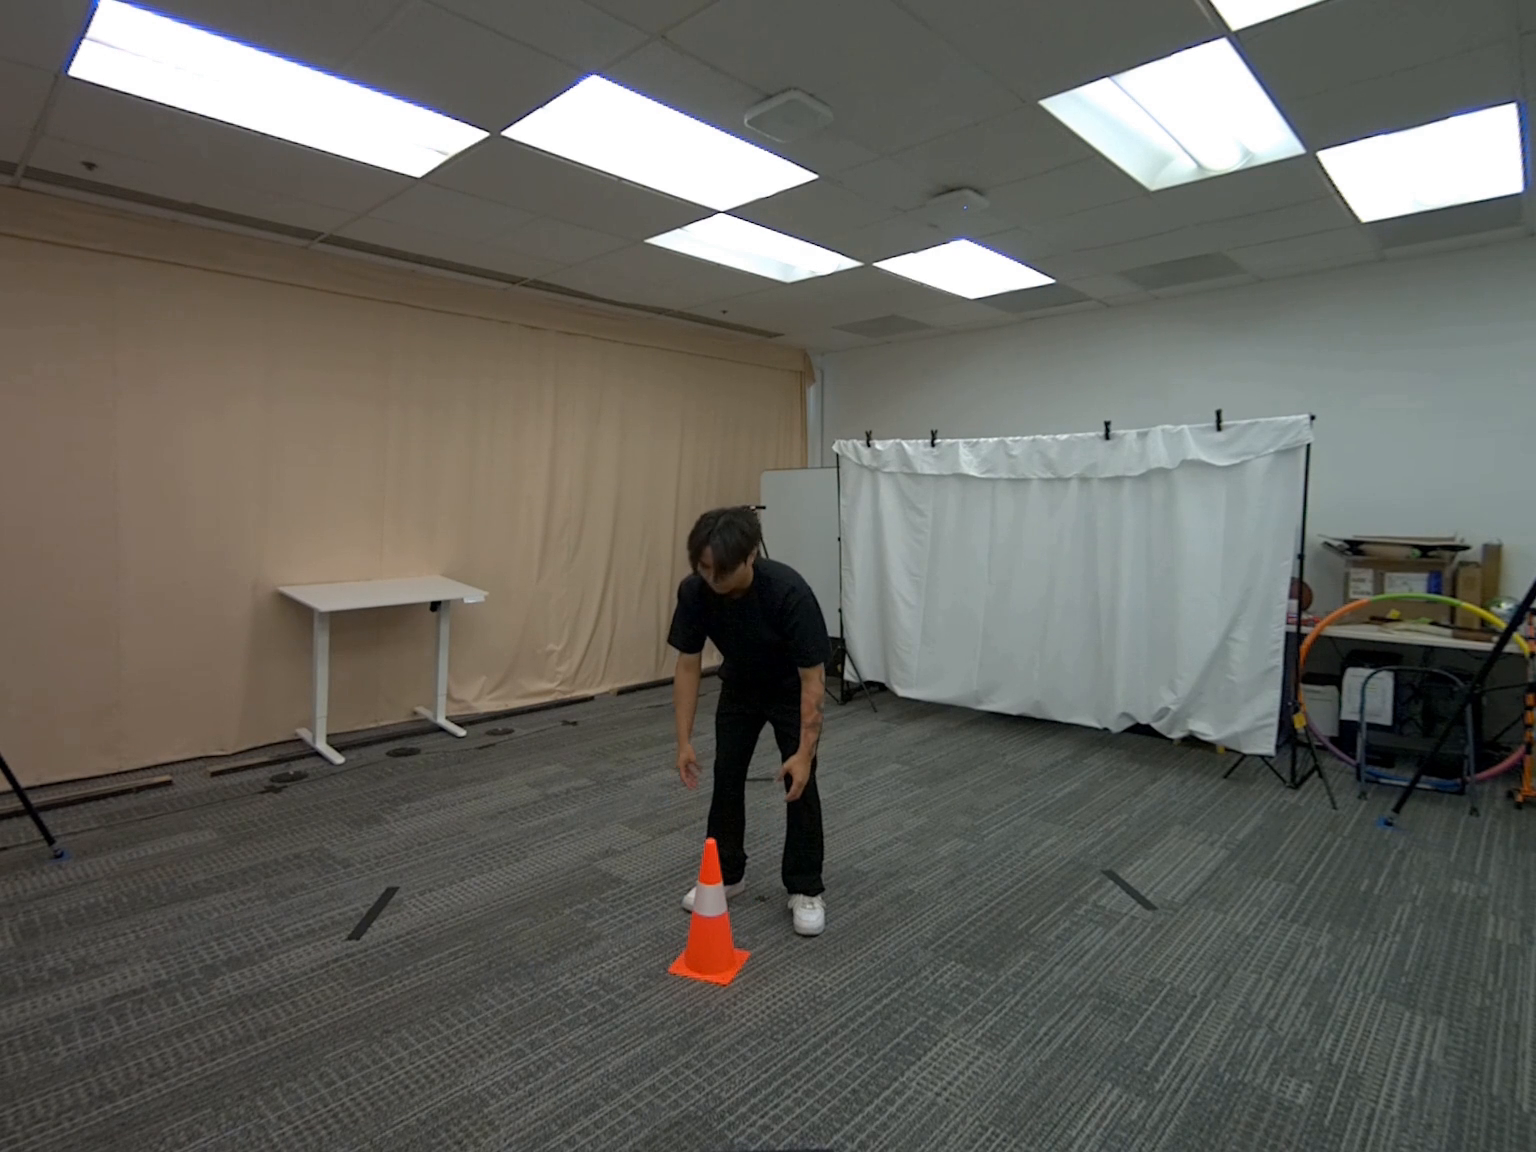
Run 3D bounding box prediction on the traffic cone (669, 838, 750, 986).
[{"bbox_3d":[-0.174,0.988,2.562,0.208,0.383,0.200,2,4,24],"label":"traffic cone"}]
